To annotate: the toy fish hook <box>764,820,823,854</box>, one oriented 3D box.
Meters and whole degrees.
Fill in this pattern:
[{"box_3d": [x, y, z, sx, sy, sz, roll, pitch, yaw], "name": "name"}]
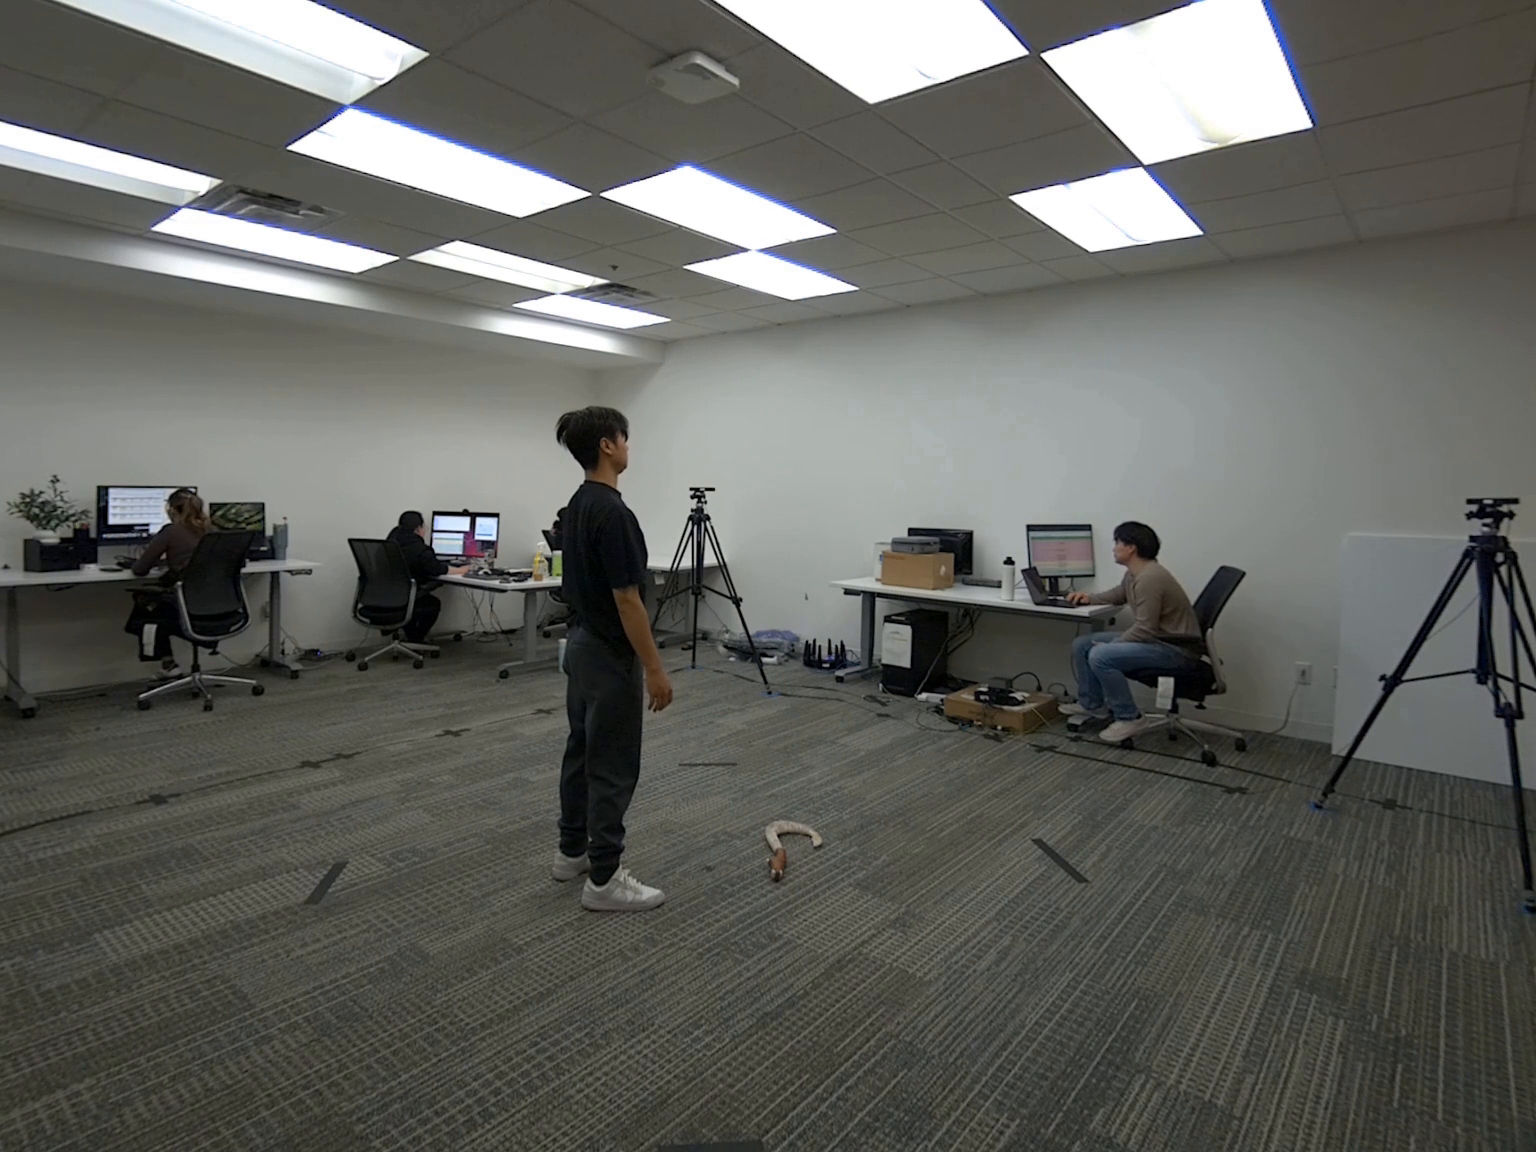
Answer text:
[{"box_3d": [0.088, 1.035, 3.245, 0.226, 0.048, 0.506, 0, 6, 4], "name": "toy fish hook"}]
